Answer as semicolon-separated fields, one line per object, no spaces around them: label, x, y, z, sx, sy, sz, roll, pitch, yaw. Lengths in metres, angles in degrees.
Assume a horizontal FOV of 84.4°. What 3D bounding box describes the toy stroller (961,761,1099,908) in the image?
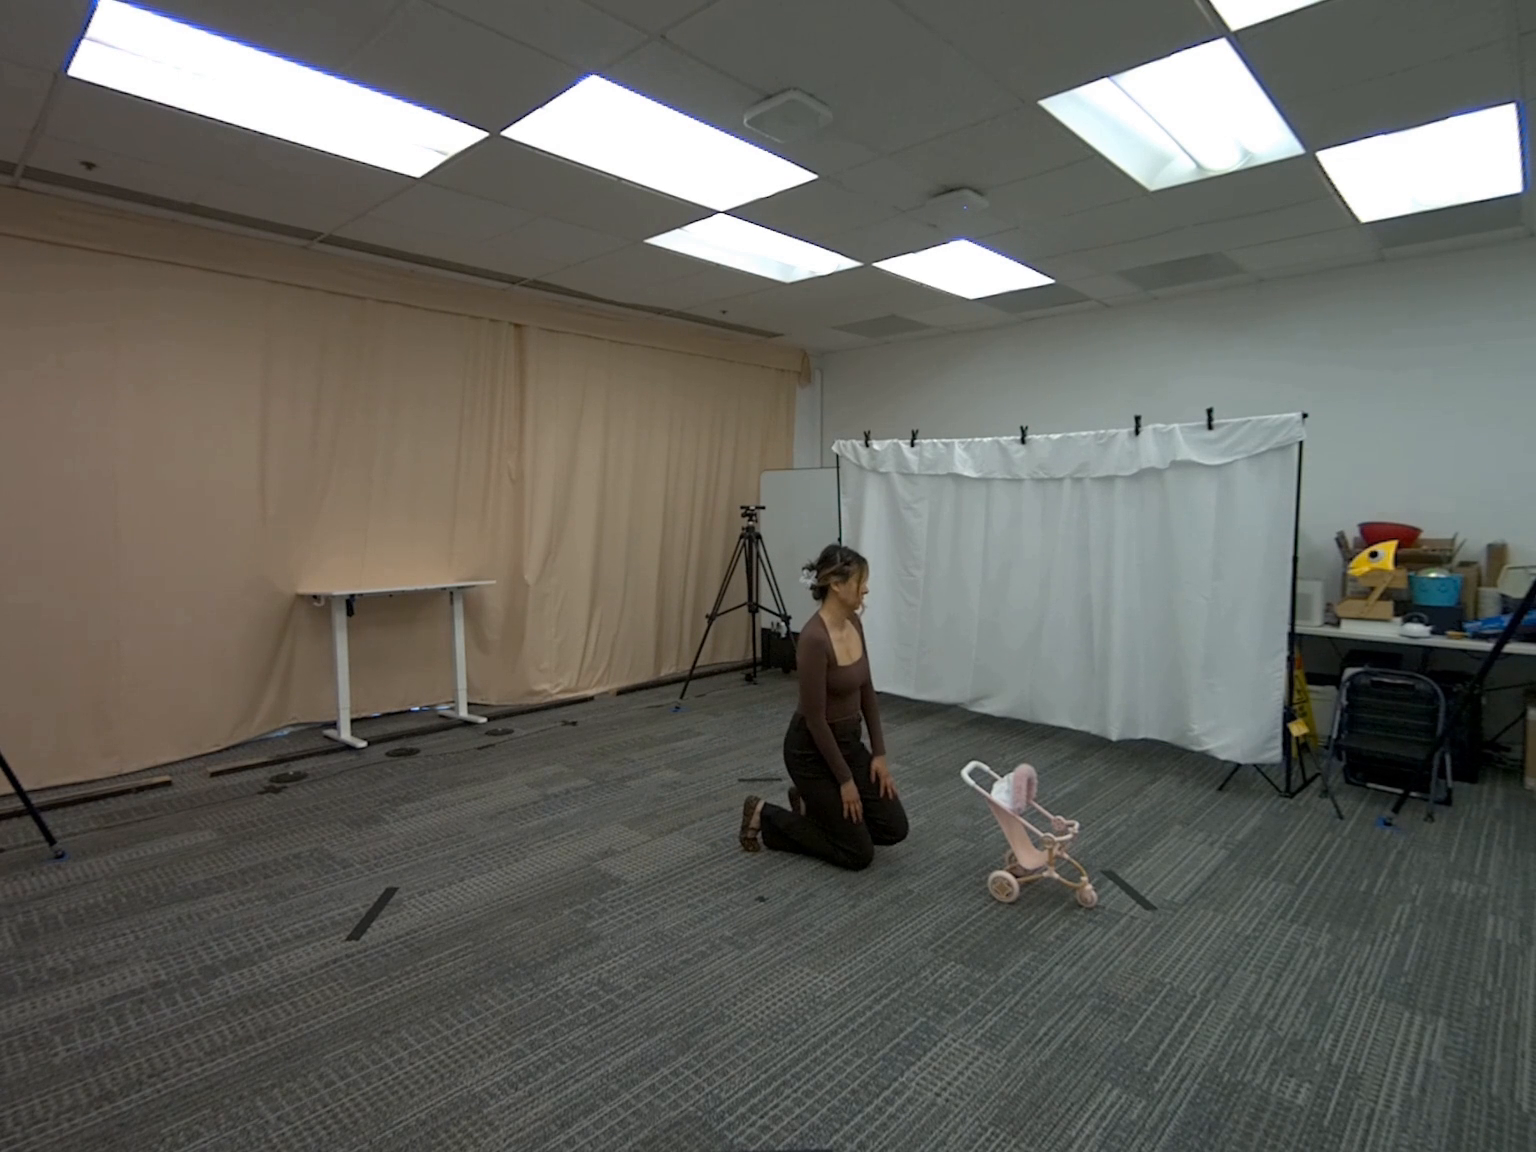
toy stroller;0.948;0.918;3.011;0.349;0.538;0.273;-19;-8;35
